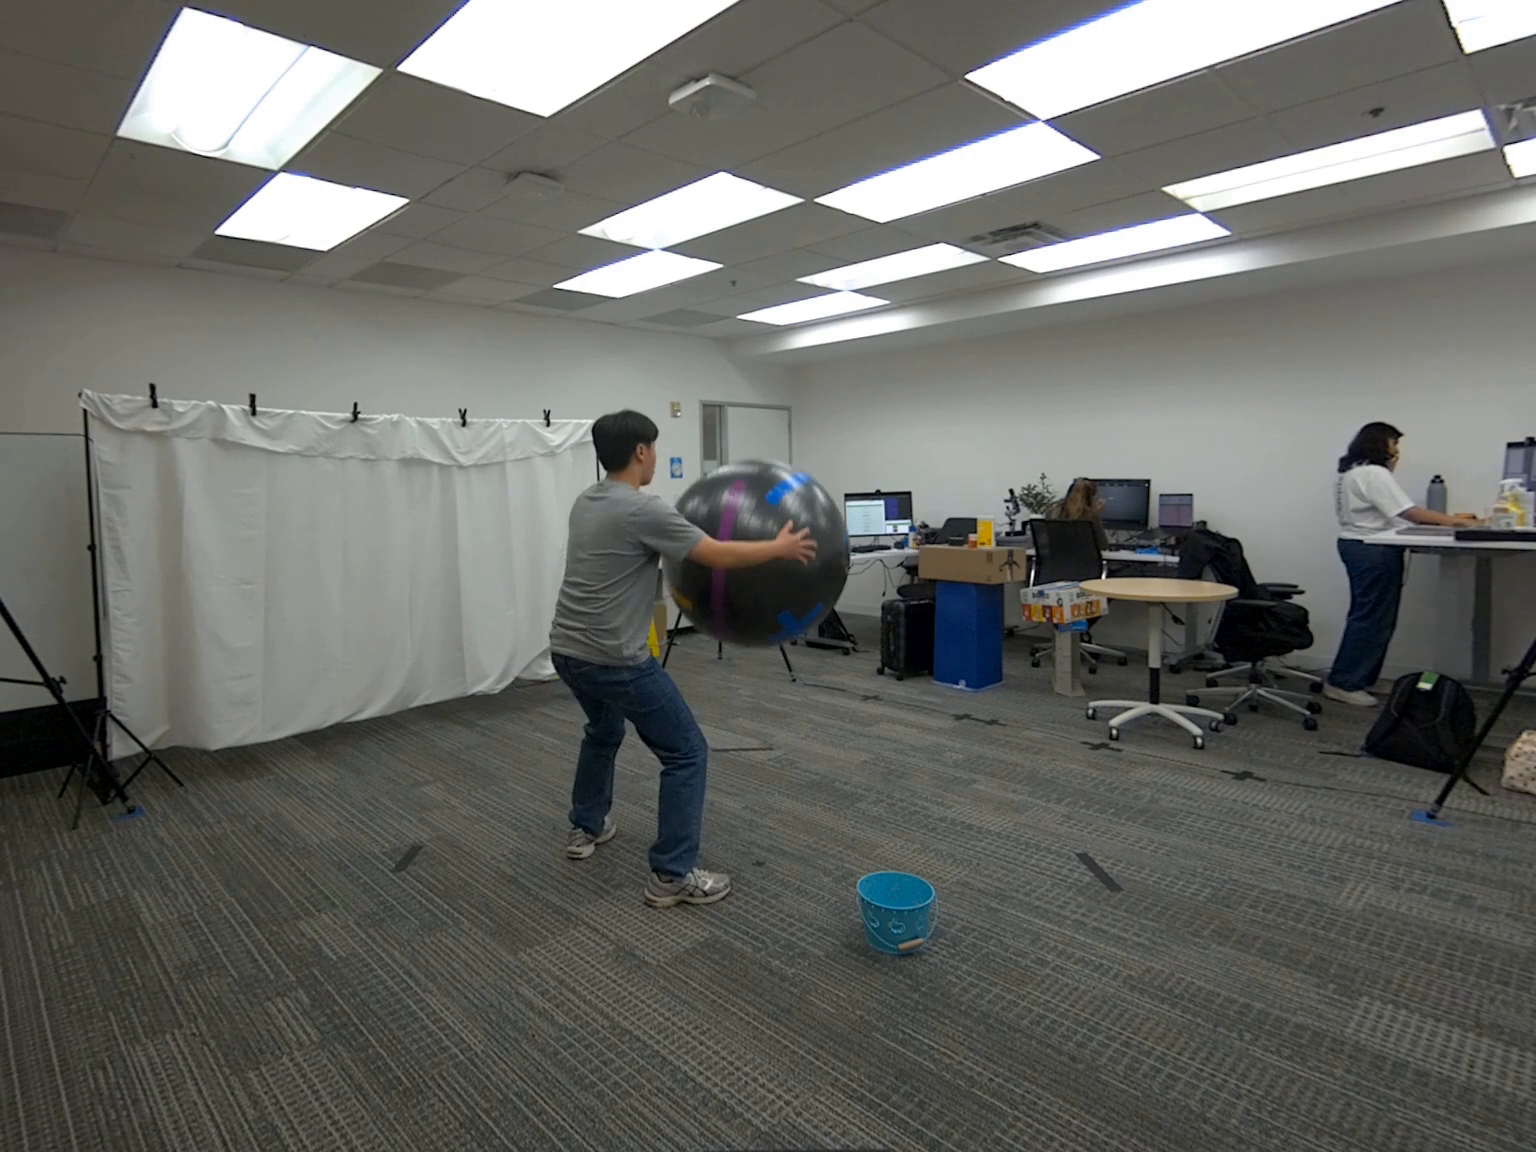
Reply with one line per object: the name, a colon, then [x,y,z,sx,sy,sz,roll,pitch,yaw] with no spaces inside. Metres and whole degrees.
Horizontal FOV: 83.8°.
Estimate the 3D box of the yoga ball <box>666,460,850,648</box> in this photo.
yoga ball: [-0.065,-0.090,3.436,0.757,0.755,0.762,-1,5,-2]
